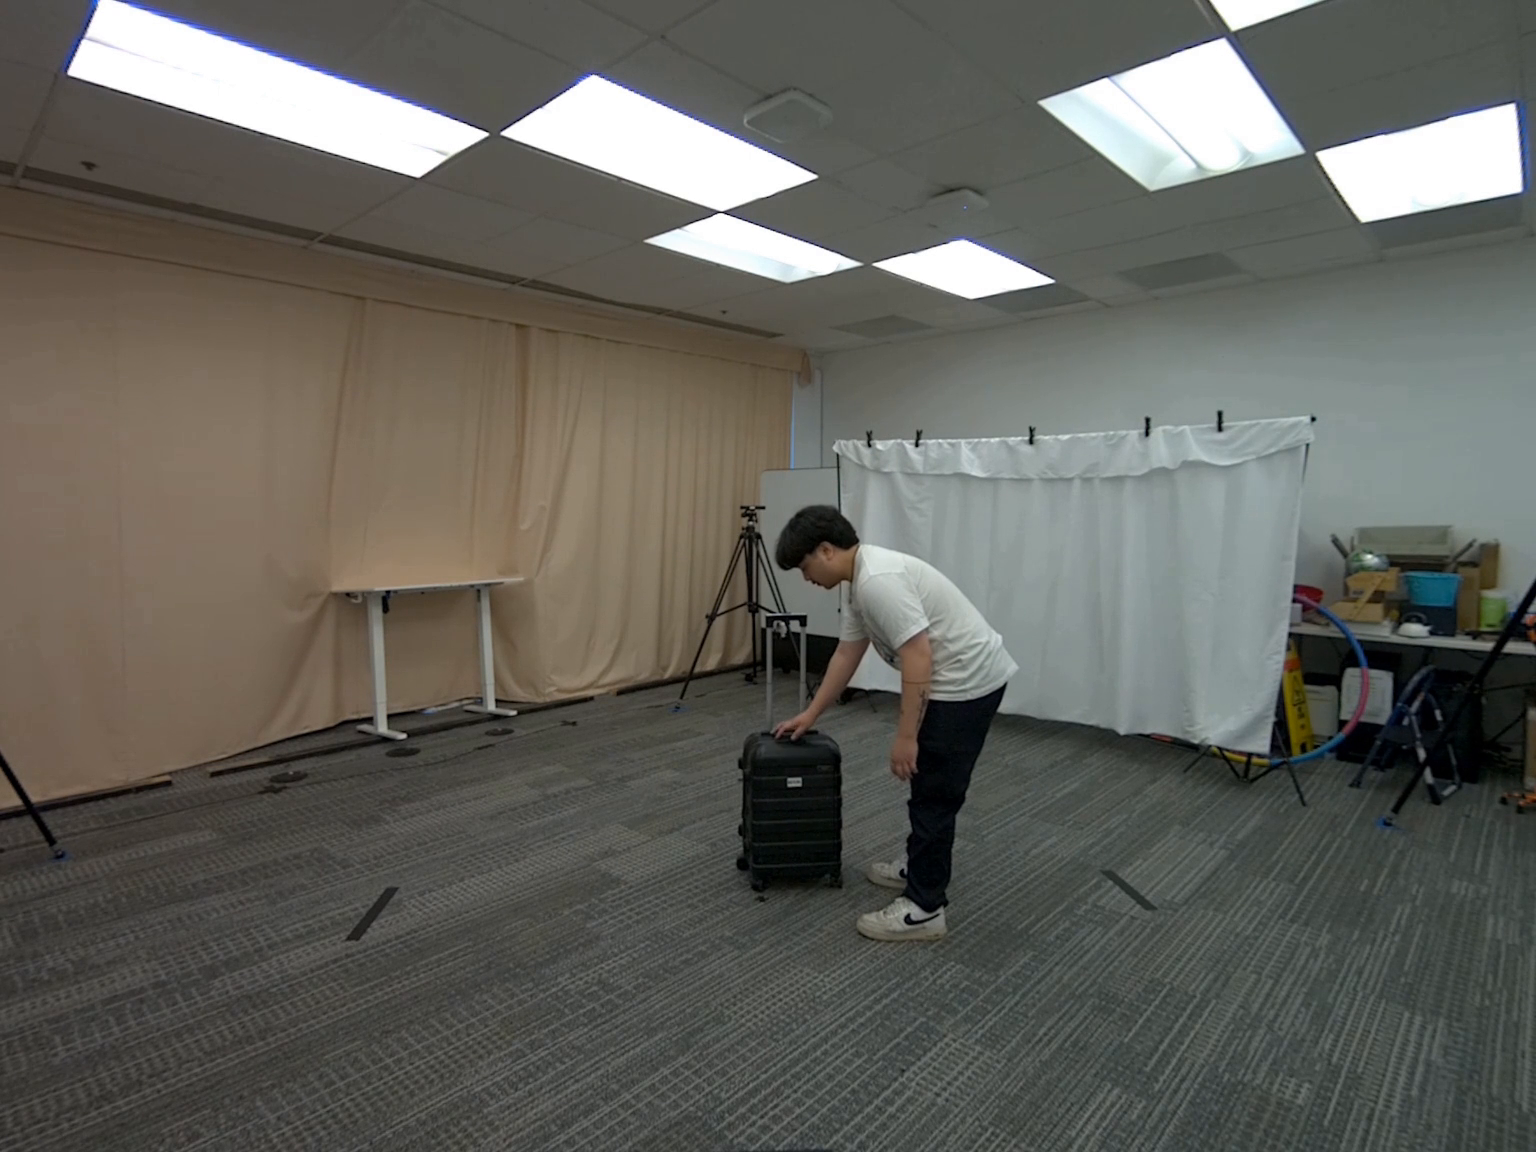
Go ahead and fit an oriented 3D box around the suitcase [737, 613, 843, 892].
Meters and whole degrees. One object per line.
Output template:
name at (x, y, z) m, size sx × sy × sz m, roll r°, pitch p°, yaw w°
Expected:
suitcase at (0.093, 0.661, 3.111) m, size 0.382 × 0.974 × 0.259 m, roll 0°, pitch 7°, yaw -6°
